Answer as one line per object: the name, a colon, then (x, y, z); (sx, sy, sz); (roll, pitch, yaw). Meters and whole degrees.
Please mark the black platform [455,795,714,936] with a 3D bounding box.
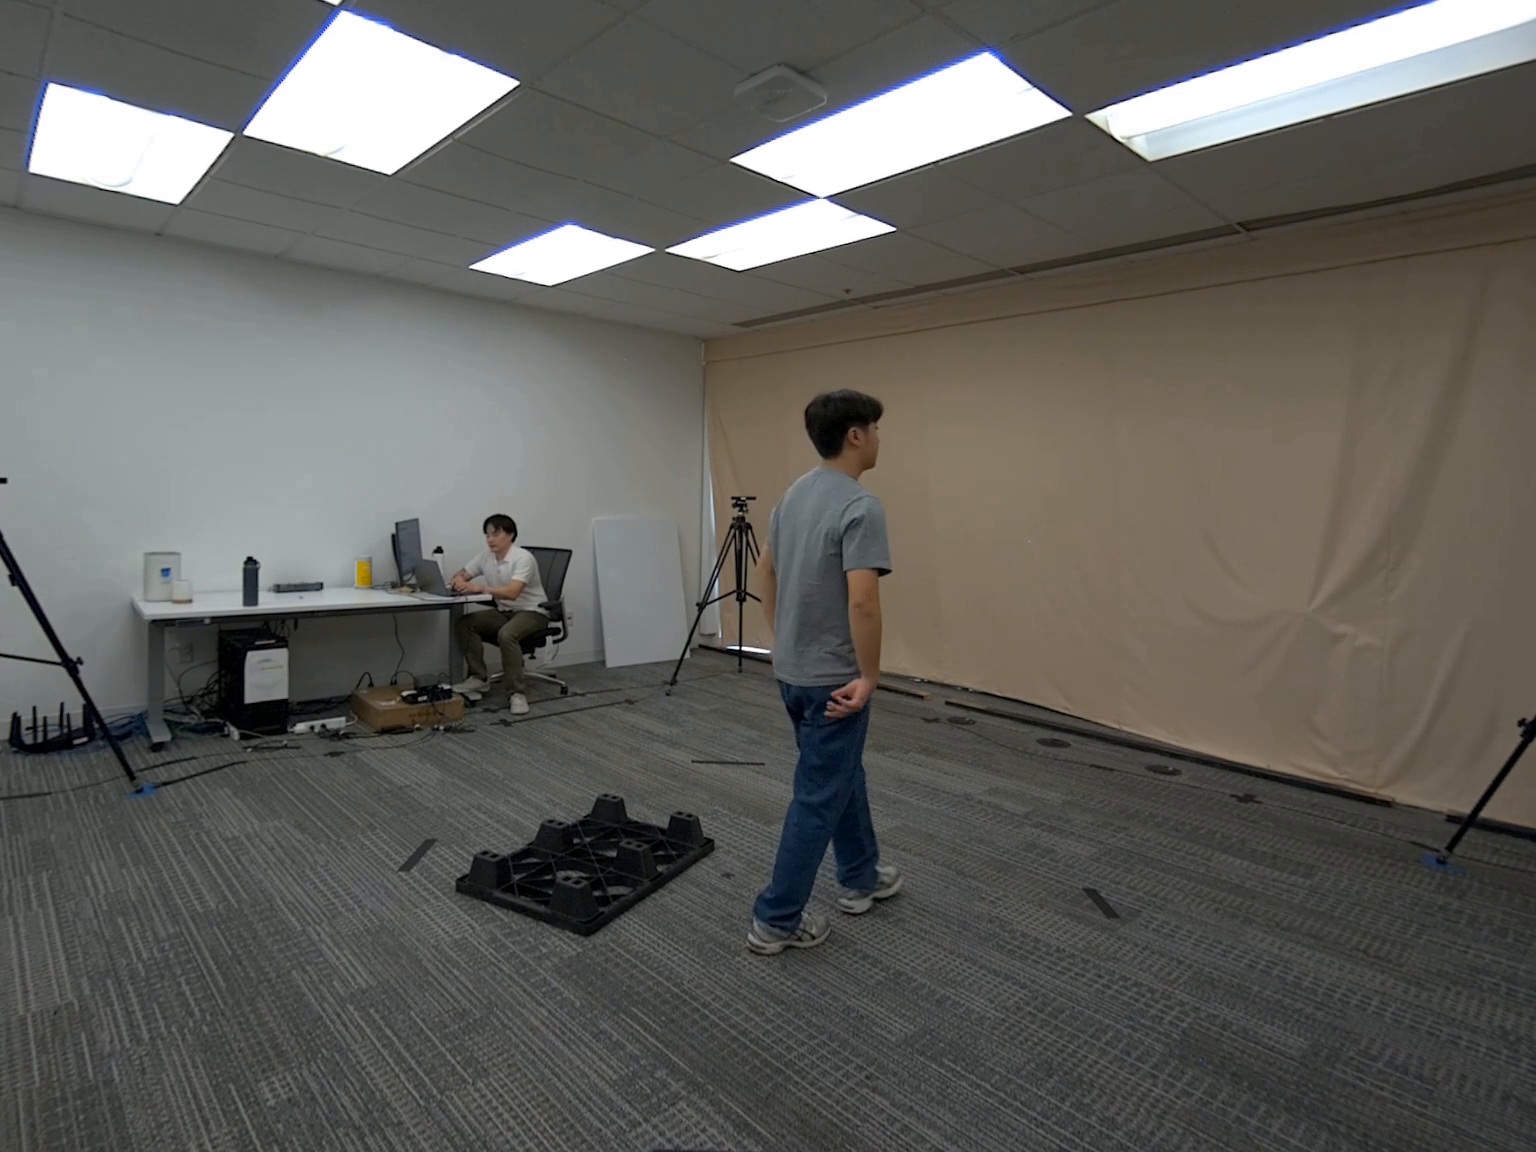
black platform: (-0.657, 1.025, 3.137); (0.618, 0.143, 0.791); (4, 6, 27)
